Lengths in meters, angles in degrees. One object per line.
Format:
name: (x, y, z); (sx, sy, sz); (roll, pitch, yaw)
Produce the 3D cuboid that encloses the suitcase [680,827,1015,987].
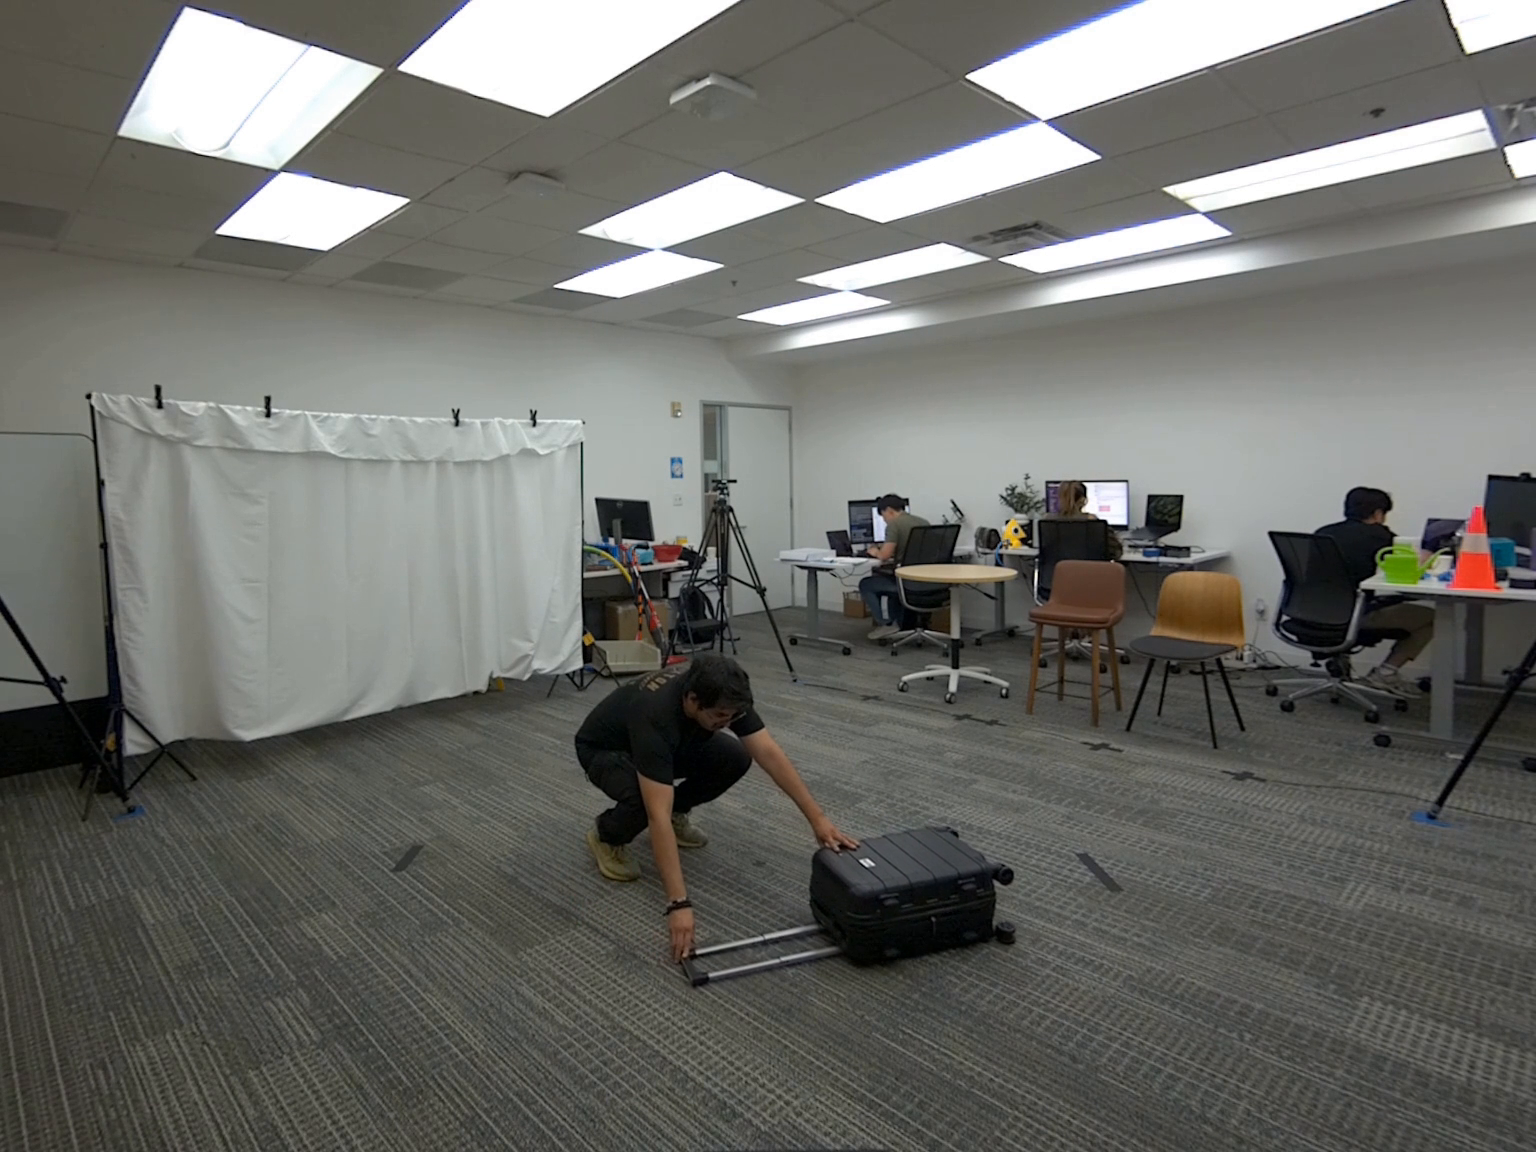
suitcase: (0.230, 0.976, 2.573); (0.962, 0.256, 0.392); (-2, 6, -19)
